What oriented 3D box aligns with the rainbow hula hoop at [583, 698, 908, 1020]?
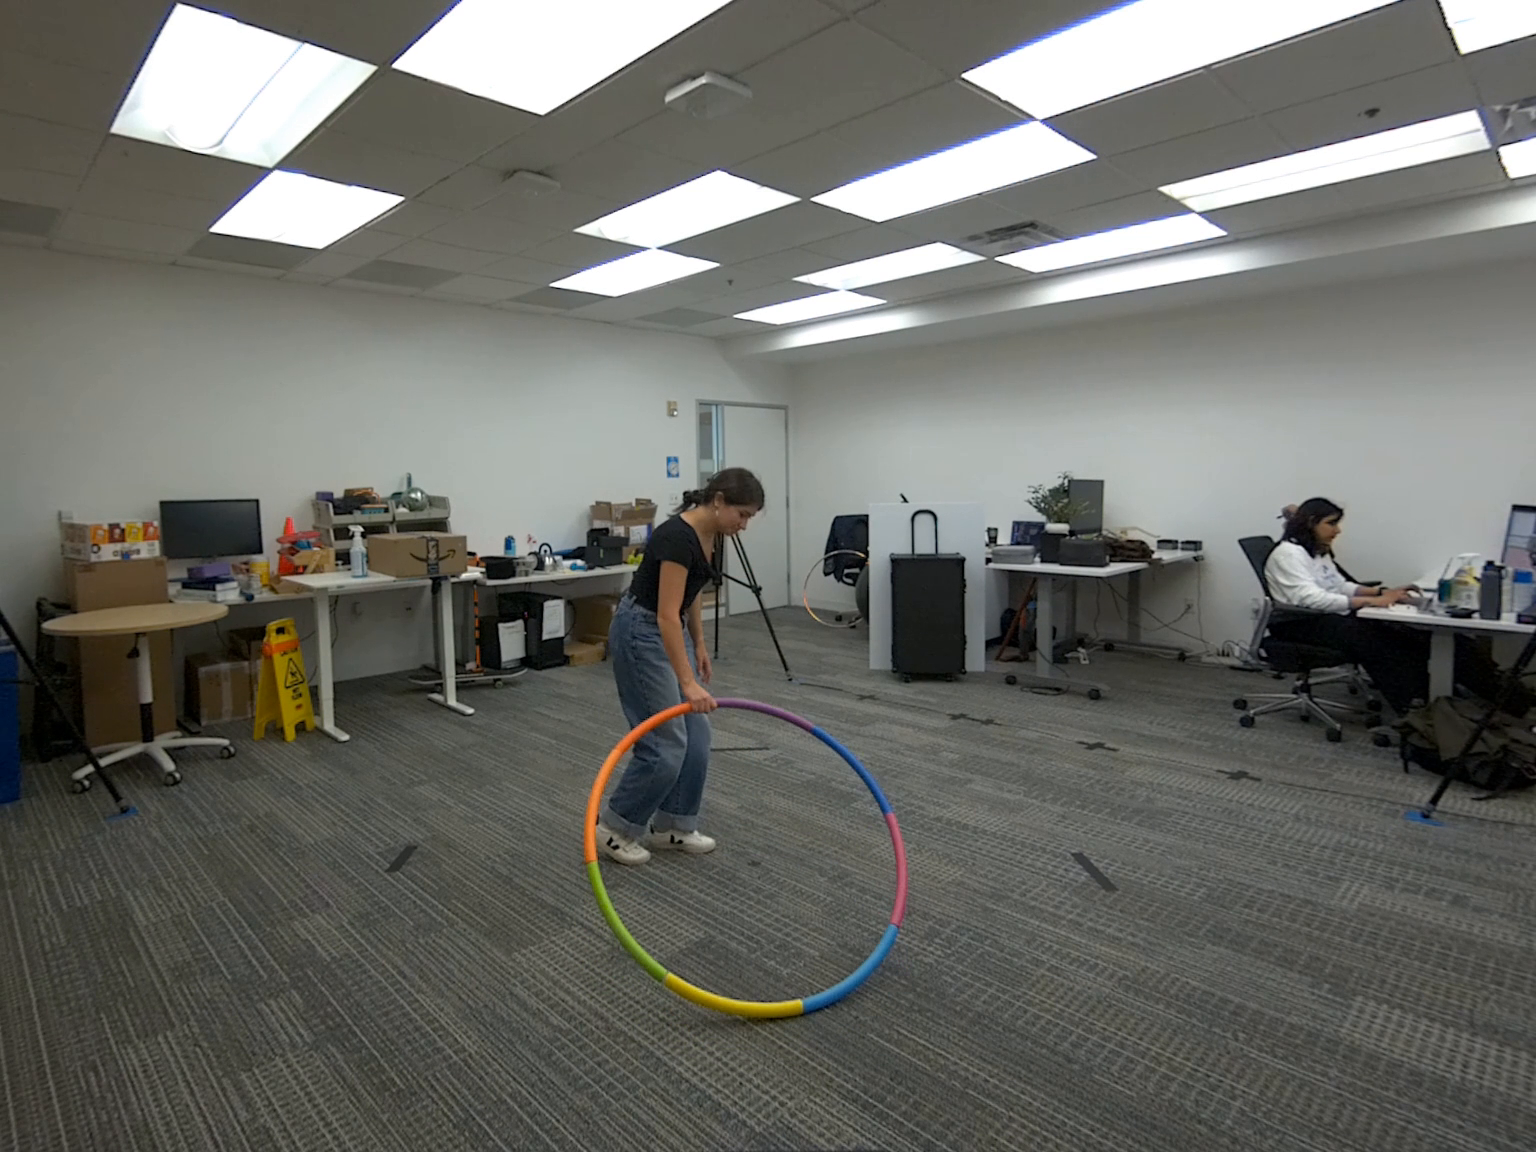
[{"bbox_3d":[-0.057,0.773,2.578,0.970,0.035,1.006,7,43,-9],"label":"rainbow hula hoop"}]
